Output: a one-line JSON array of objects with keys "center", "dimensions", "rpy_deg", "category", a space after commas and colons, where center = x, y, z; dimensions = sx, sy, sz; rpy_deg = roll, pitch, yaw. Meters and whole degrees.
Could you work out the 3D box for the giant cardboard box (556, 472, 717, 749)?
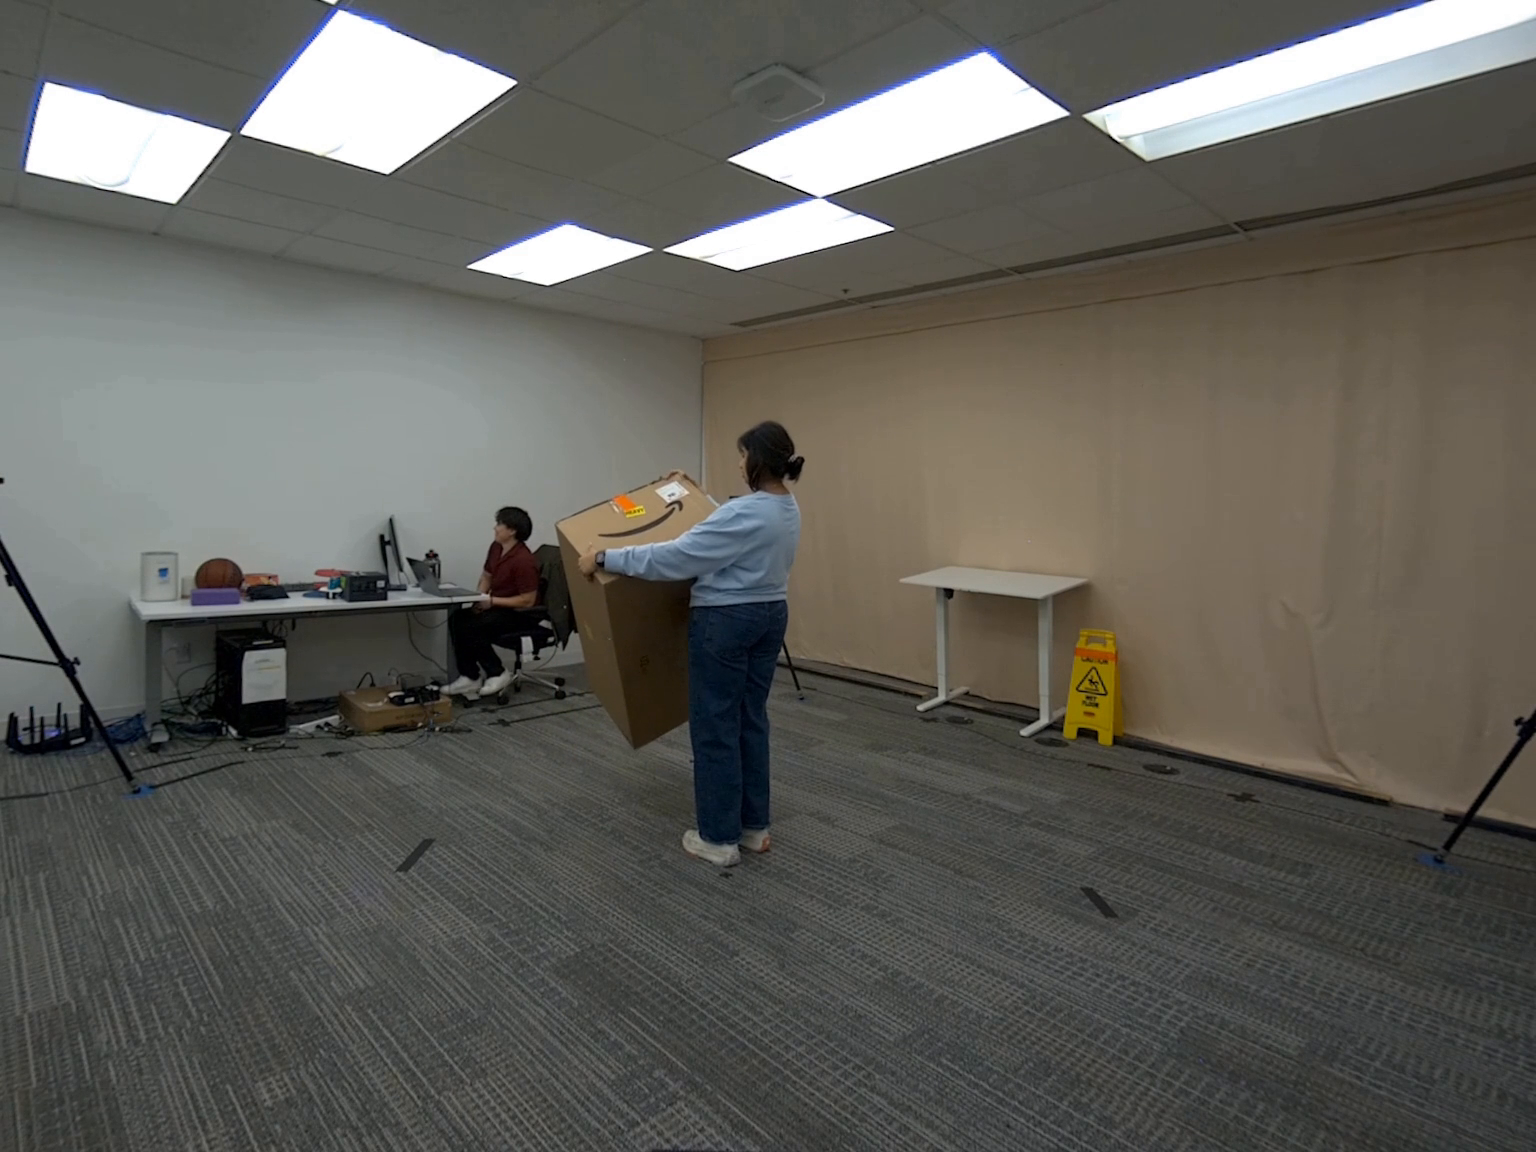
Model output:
[{"center": [-0.490, 0.172, 3.601], "dimensions": [0.578, 1.004, 0.461], "rpy_deg": [-24, 47, -24], "category": "giant cardboard box"}]
